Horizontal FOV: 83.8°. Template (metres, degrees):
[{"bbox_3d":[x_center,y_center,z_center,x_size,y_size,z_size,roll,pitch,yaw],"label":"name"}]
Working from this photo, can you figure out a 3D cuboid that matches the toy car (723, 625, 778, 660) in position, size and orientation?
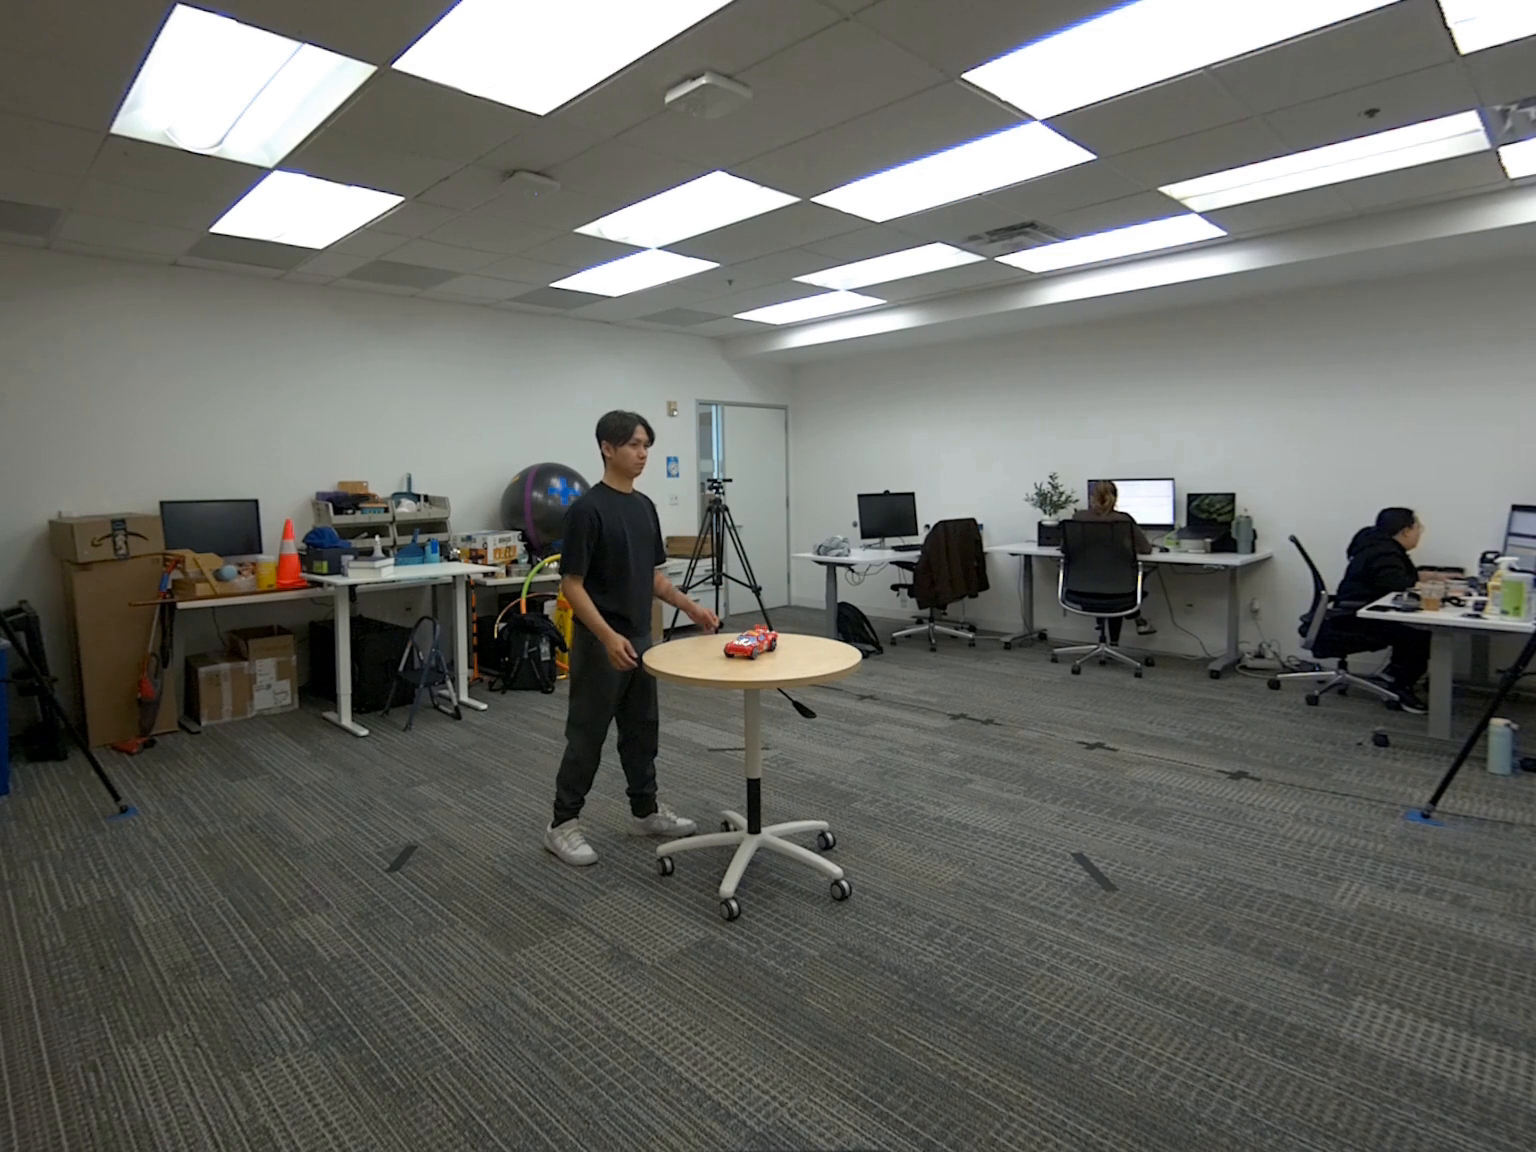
[{"bbox_3d":[-0.050,0.240,3.012,0.133,0.082,0.252,2,19,27],"label":"toy car"}]
